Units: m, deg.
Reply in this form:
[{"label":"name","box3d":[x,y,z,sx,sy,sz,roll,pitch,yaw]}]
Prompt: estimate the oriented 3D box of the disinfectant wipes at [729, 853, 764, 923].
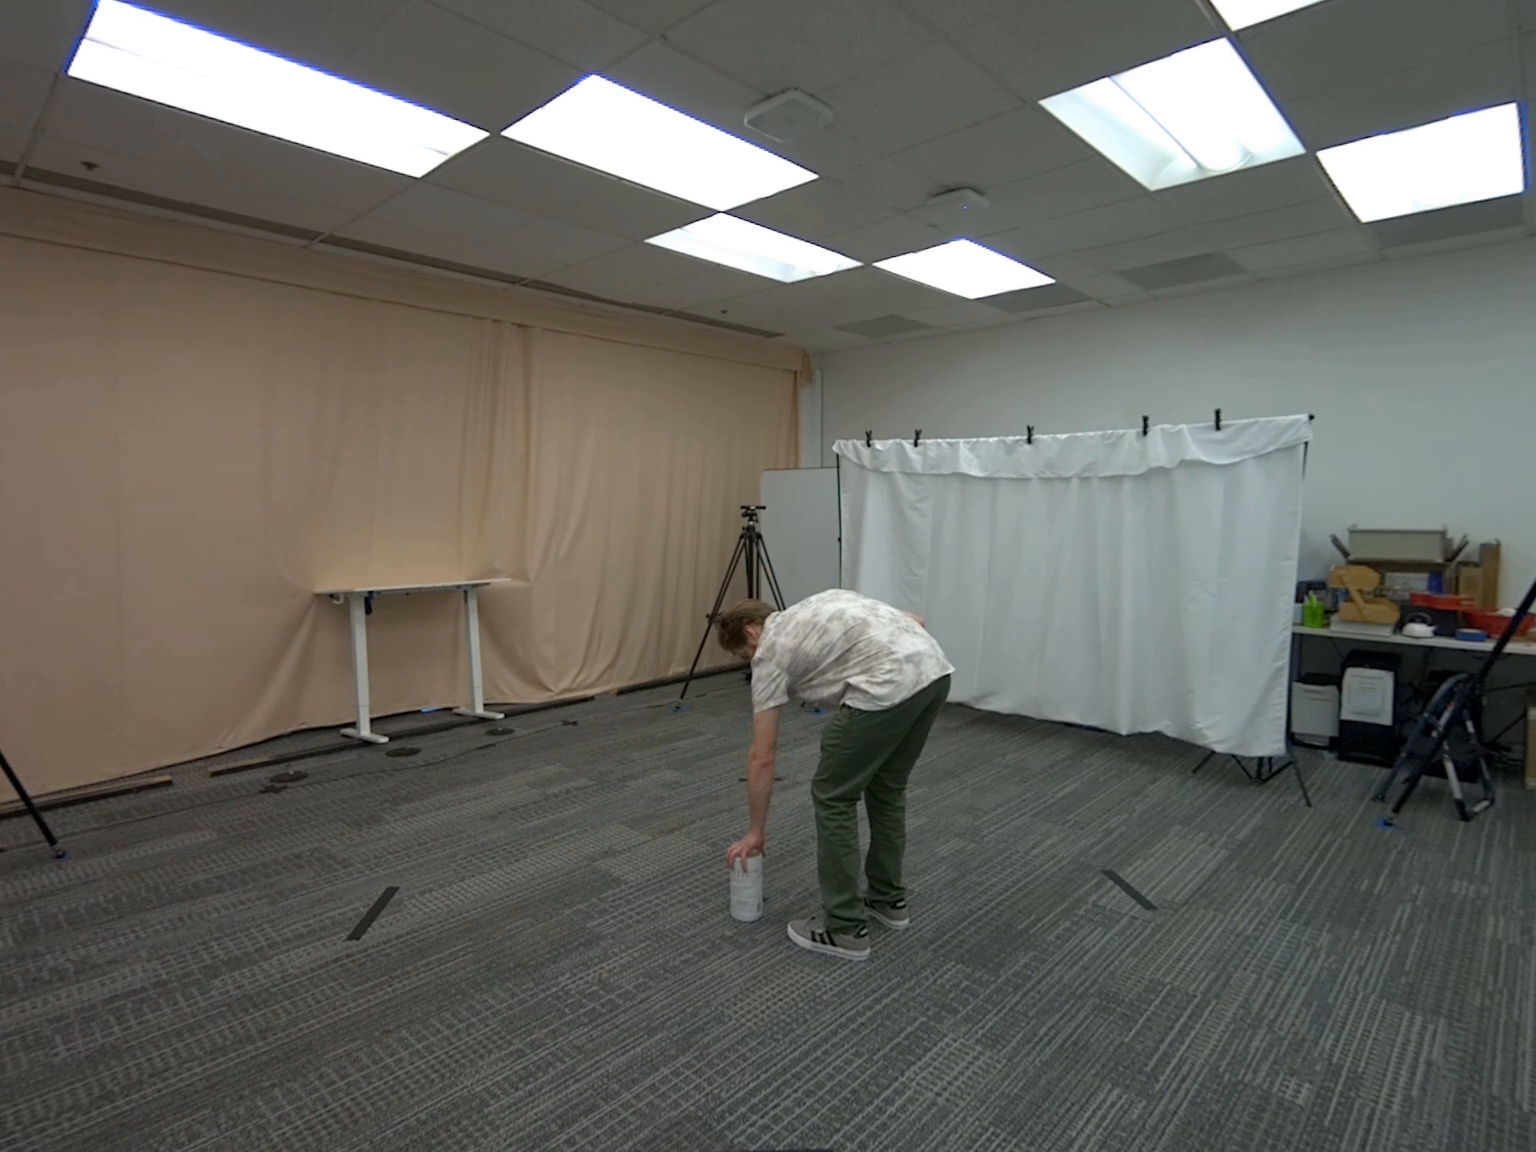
[{"label":"disinfectant wipes","box3d":[-0.065,1.054,2.865,0.118,0.217,0.118,-2,2,-2]}]
